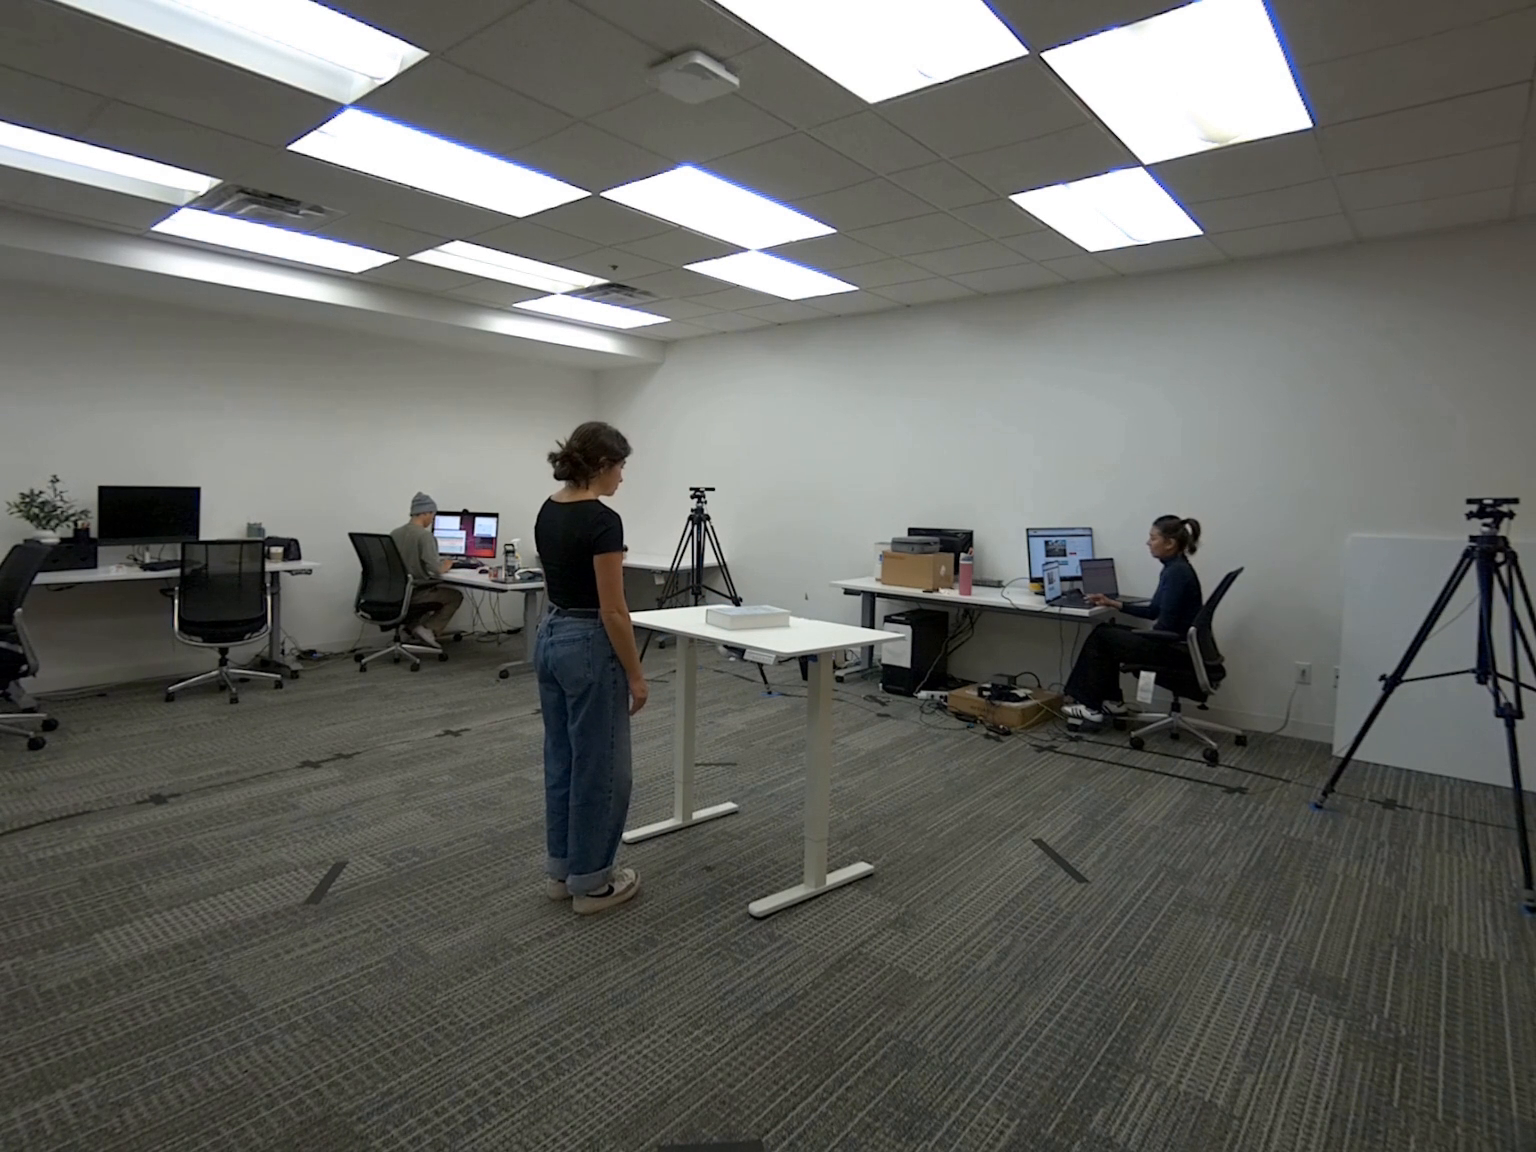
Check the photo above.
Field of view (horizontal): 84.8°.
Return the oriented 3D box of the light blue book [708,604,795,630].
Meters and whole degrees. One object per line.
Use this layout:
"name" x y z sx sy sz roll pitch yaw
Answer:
"light blue book" -0.066 0.151 3.176 0.254 0.059 0.197 -2 6 -30
